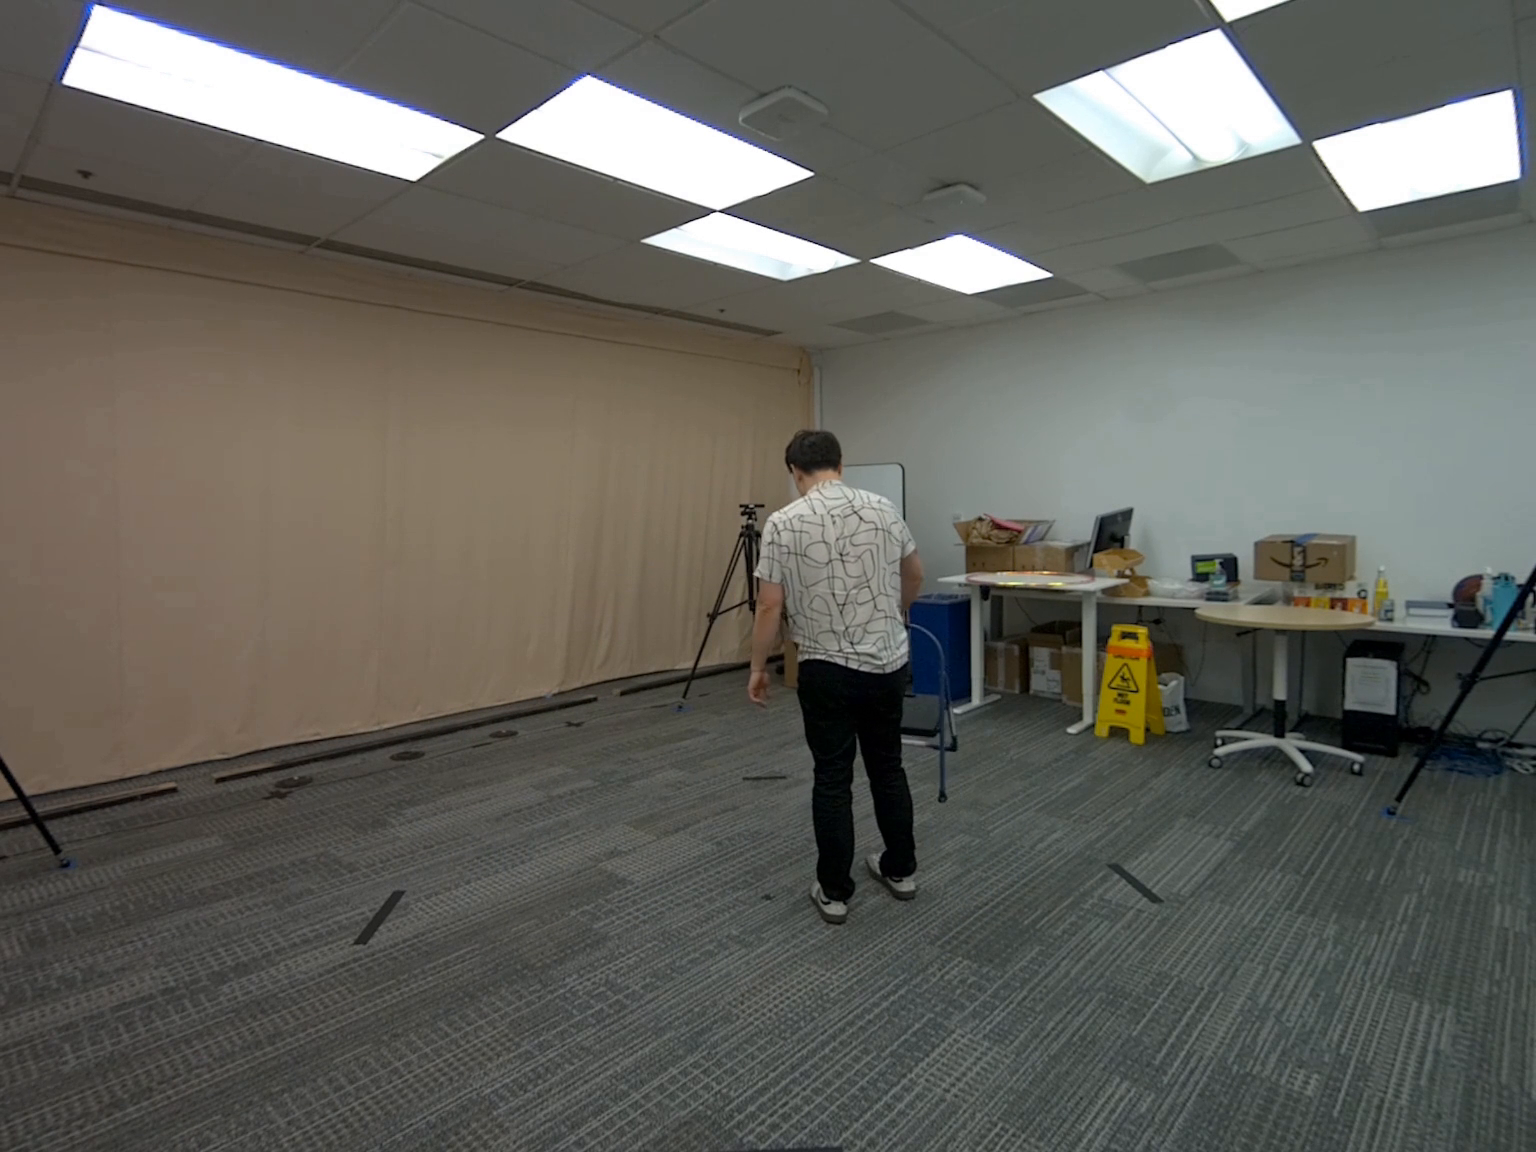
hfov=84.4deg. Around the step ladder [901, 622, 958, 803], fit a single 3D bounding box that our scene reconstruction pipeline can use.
[{"bbox_3d":[0.492,0.498,3.251,0.441,0.597,0.346,1,22,23],"label":"step ladder"}]
